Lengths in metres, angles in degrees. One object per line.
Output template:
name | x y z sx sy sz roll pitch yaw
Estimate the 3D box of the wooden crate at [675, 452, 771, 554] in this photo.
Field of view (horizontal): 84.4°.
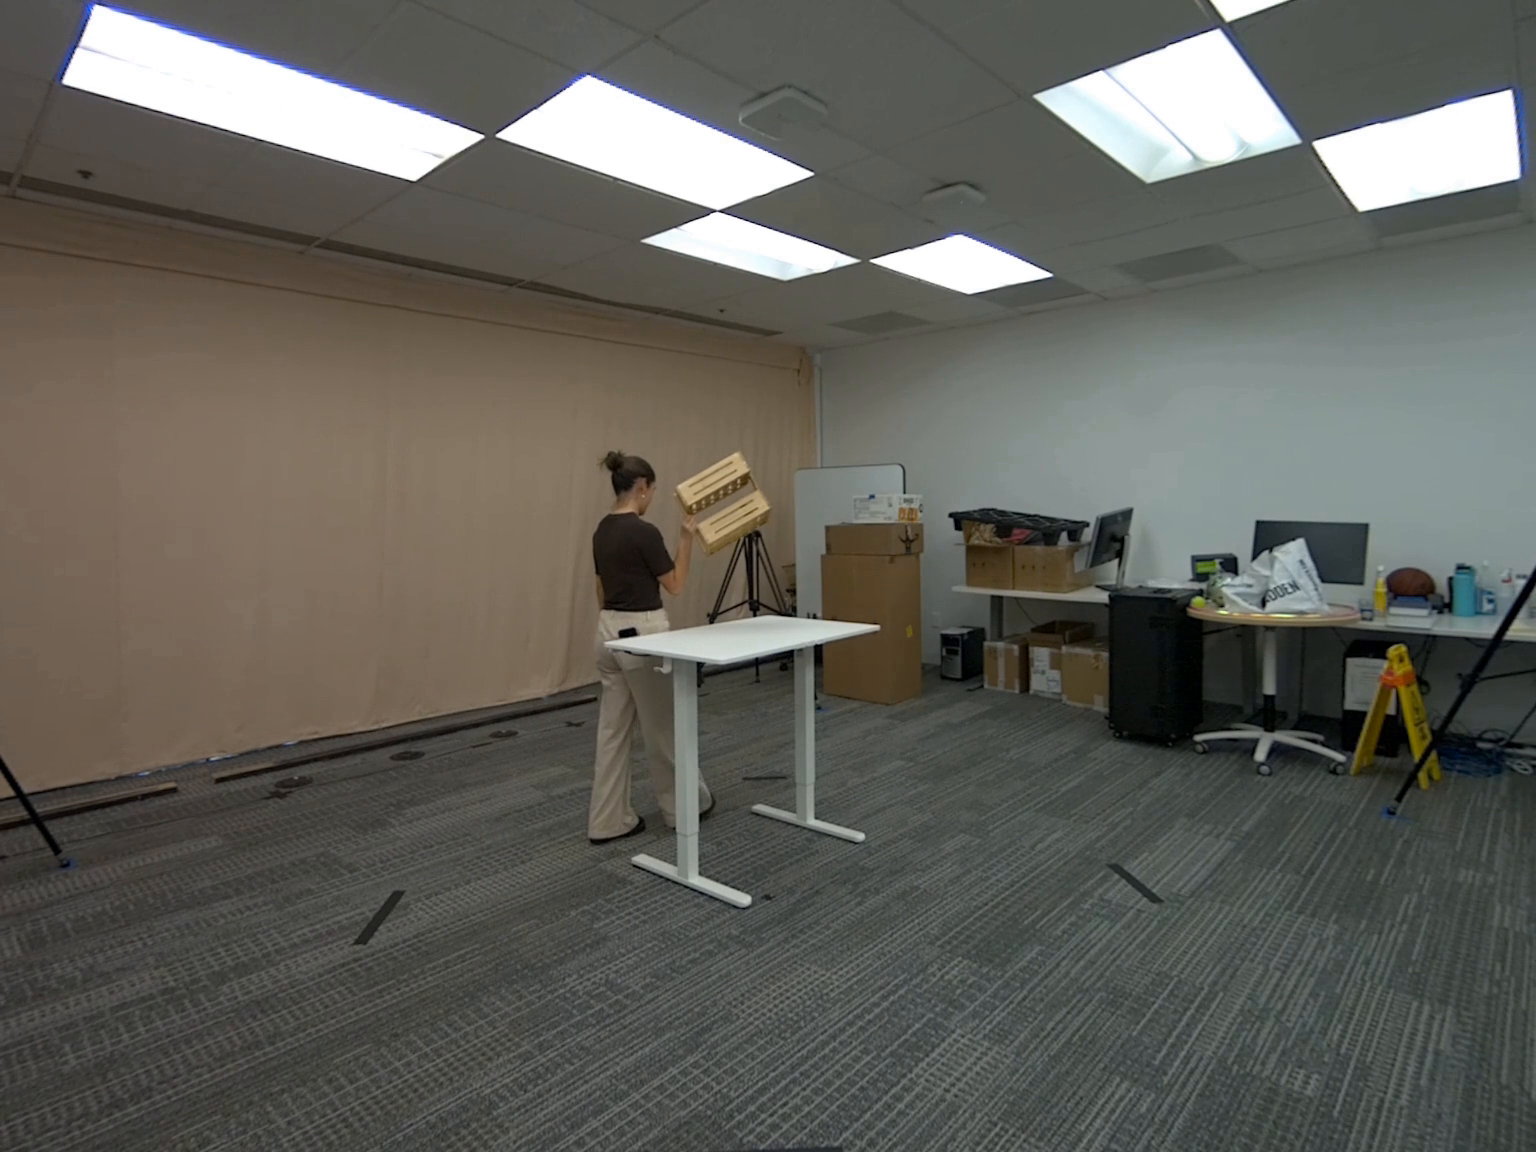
wooden crate | -0.190 -0.293 3.502 0.322 0.277 0.300 -30 -10 -10
